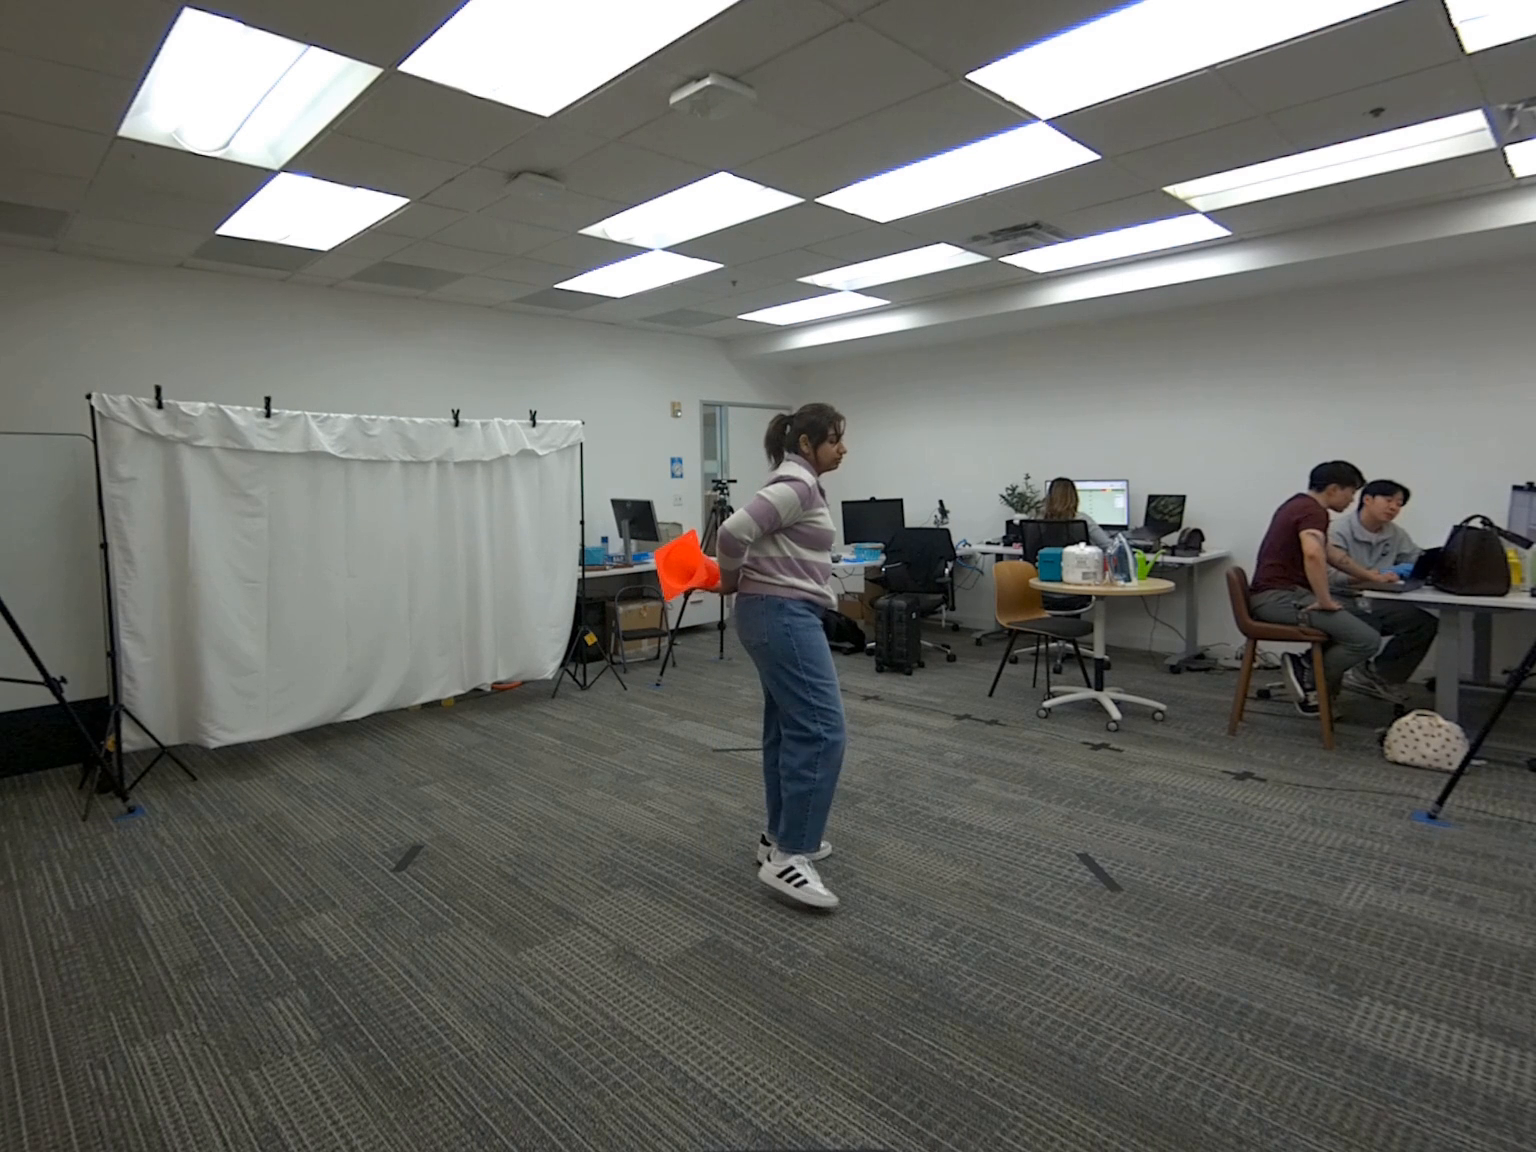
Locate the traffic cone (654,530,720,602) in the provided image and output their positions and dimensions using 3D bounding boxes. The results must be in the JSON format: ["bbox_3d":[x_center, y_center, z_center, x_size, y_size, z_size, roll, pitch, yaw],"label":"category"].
[{"bbox_3d":[-0.204,-0.003,3.116,0.205,0.210,0.370,-28,-25,24],"label":"traffic cone"}]
